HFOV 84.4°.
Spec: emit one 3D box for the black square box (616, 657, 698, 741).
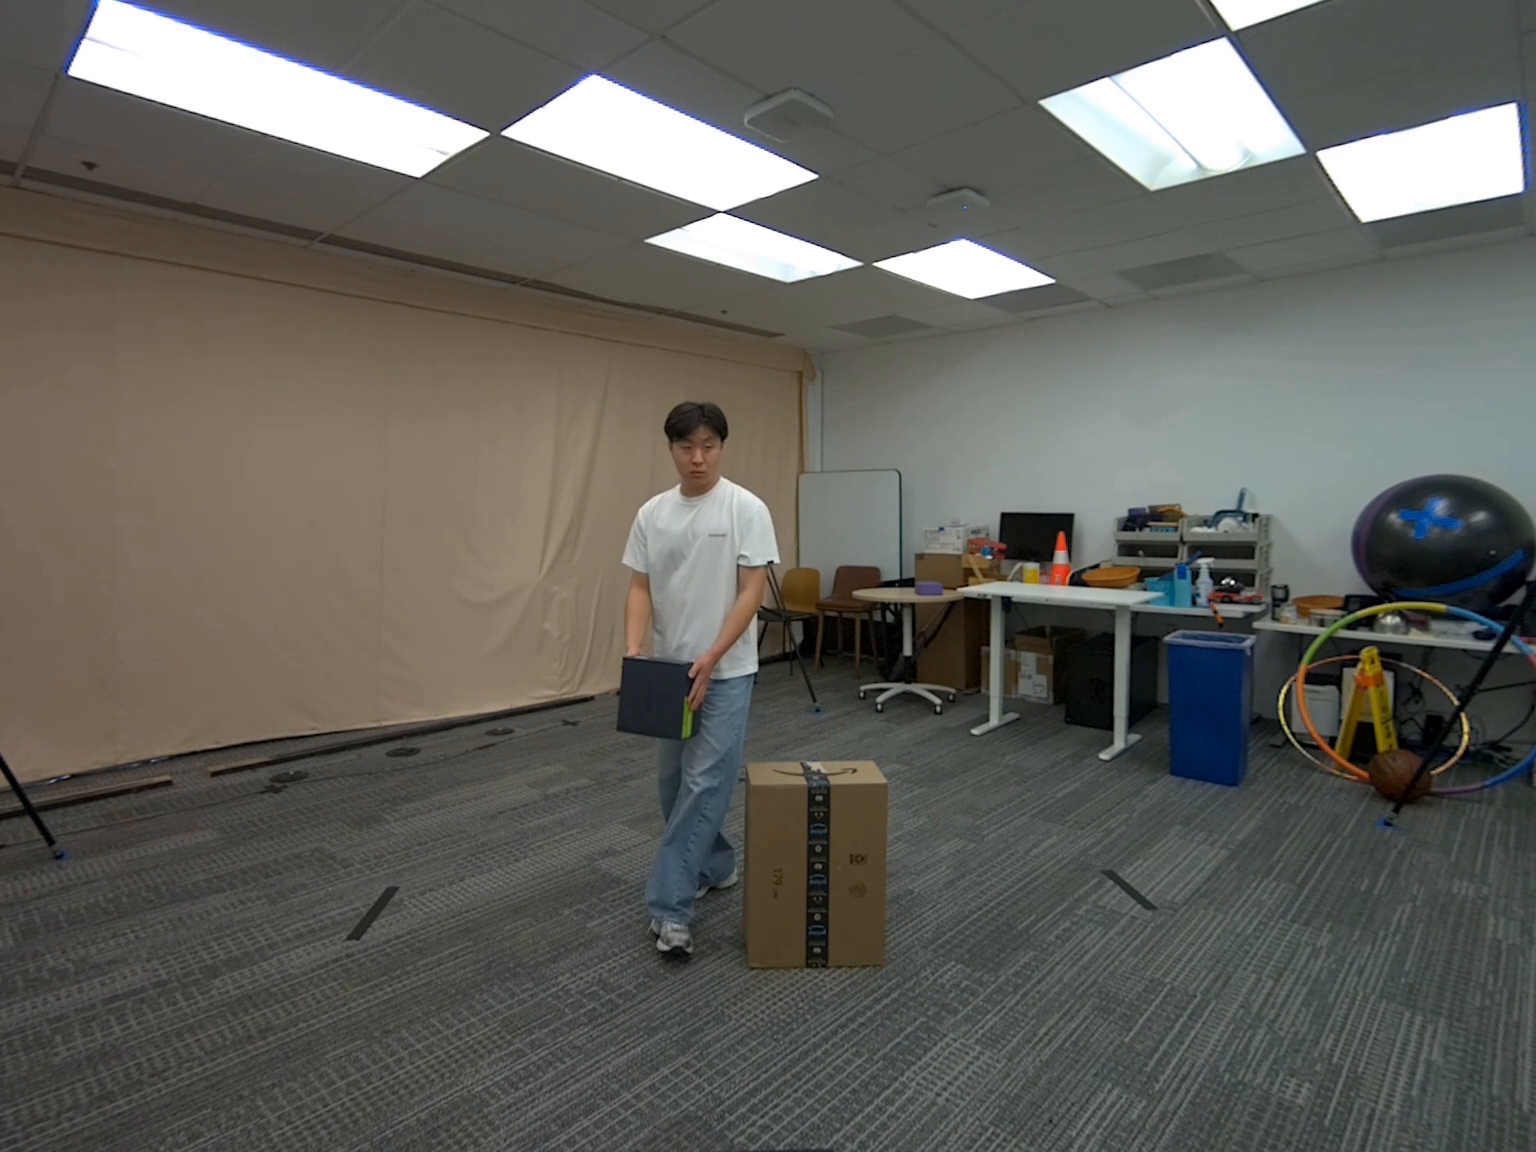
[{"bbox_3d":[-0.331,0.375,2.617,0.221,0.228,0.152,5,-2,18],"label":"black square box"}]
